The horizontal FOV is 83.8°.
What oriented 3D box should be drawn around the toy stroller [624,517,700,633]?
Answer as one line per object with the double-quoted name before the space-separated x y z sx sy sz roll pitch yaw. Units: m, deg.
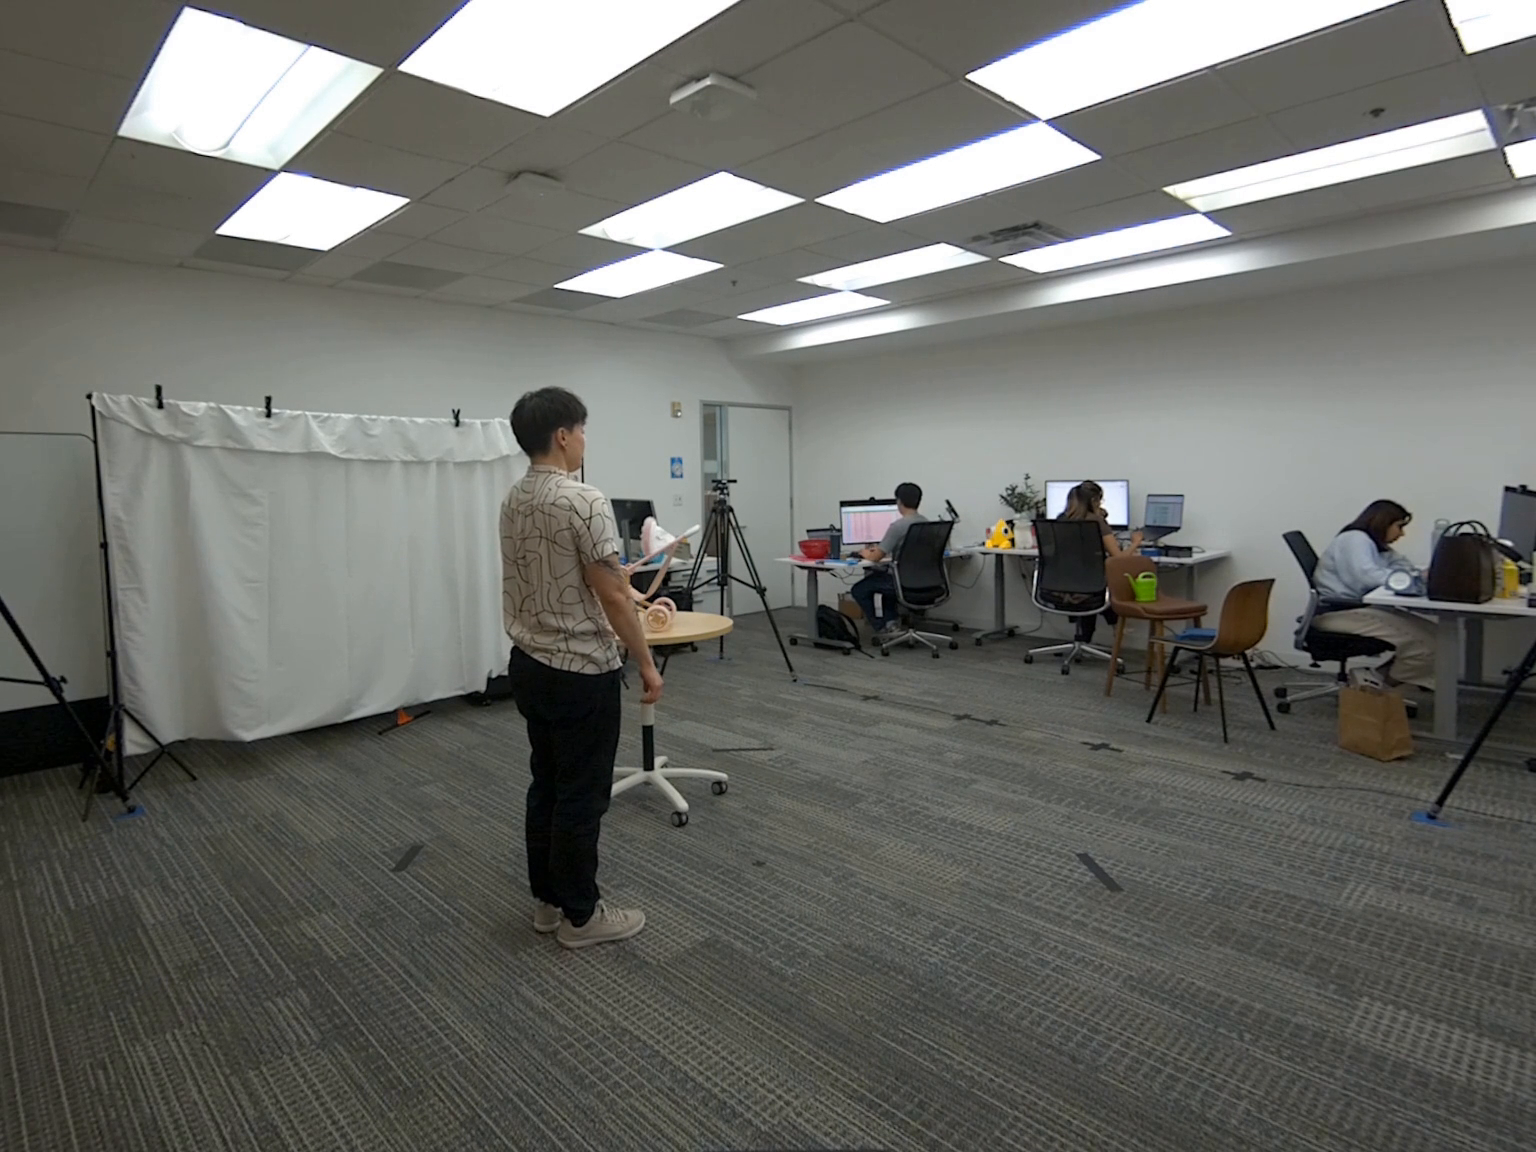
"toy stroller" -0.518 -0.005 3.597 0.343 0.533 0.280 16 5 4
